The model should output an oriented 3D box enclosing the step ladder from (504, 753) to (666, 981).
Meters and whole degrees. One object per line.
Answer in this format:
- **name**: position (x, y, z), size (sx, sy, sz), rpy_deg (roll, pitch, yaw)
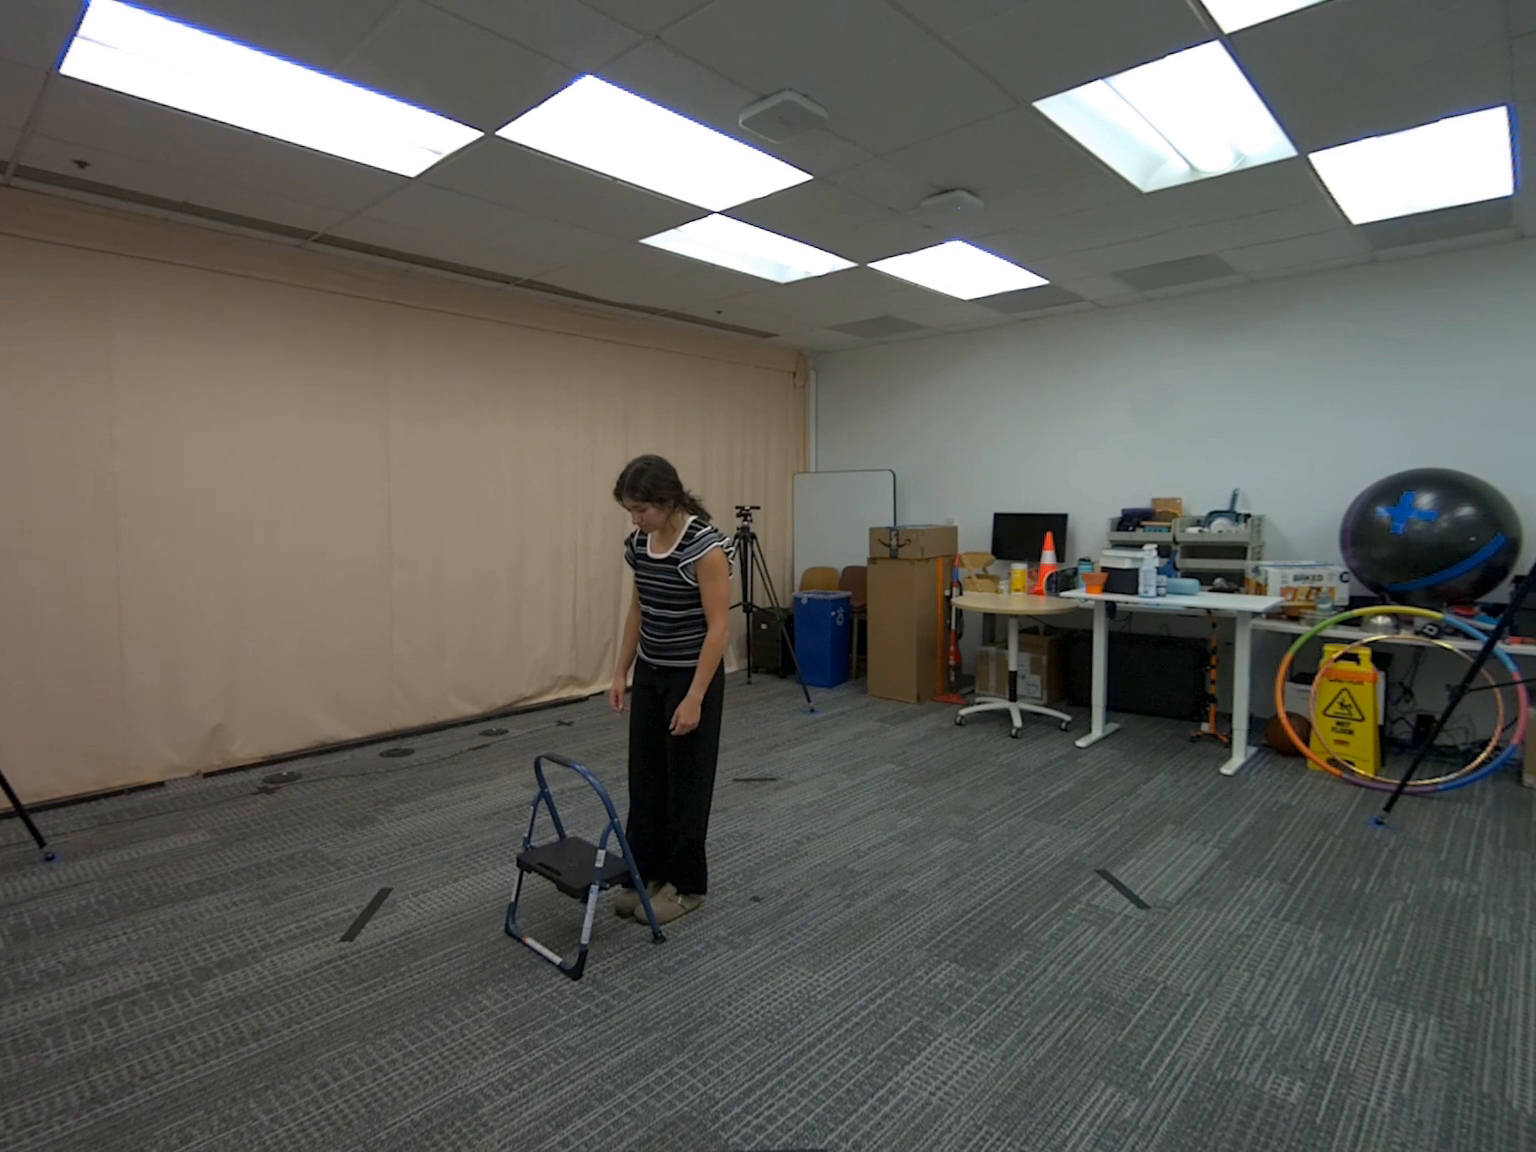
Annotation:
- **step ladder**: position (-0.605, 0.873, 2.714), size (0.445, 0.605, 0.338), rpy_deg (2, 4, 43)
